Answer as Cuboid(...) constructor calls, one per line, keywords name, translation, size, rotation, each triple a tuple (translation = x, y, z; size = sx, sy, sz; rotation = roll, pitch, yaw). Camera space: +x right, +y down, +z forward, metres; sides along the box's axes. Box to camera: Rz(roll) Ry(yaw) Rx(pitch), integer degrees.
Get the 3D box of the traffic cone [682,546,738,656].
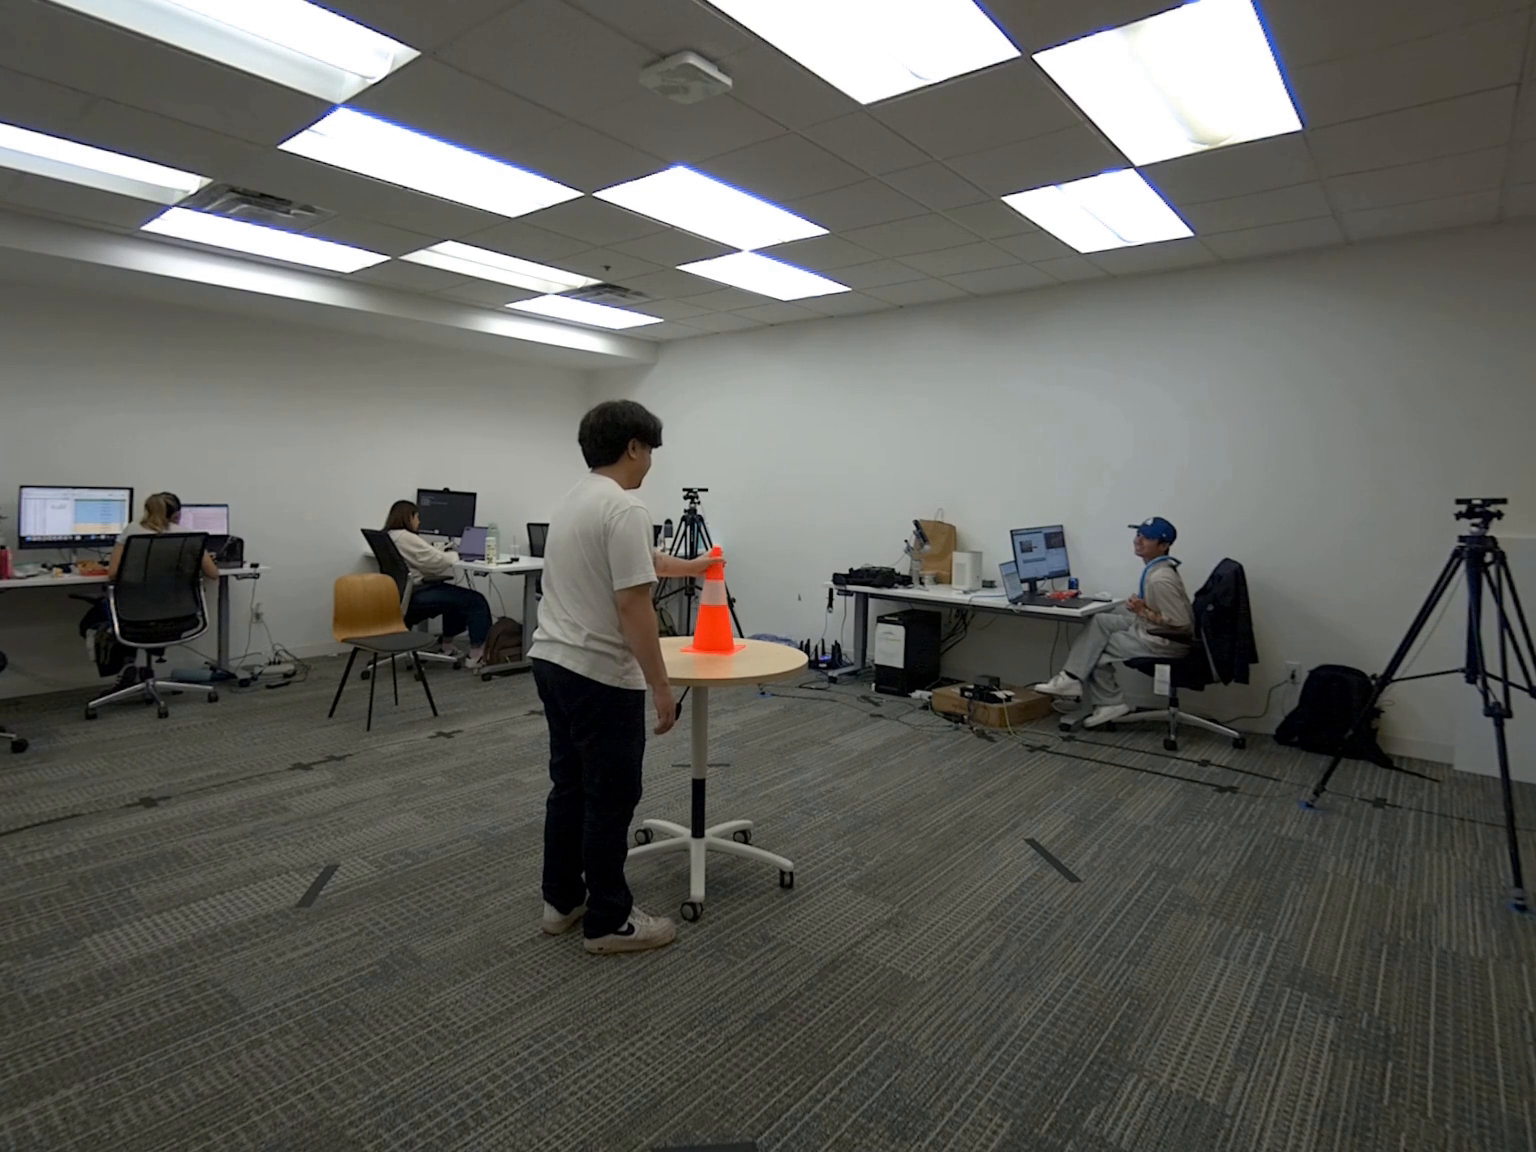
Cuboid(name="traffic cone", translation=(-0.211, 0.081, 3.150), size=(0.209, 0.382, 0.200), rotation=(3, 4, 15))
